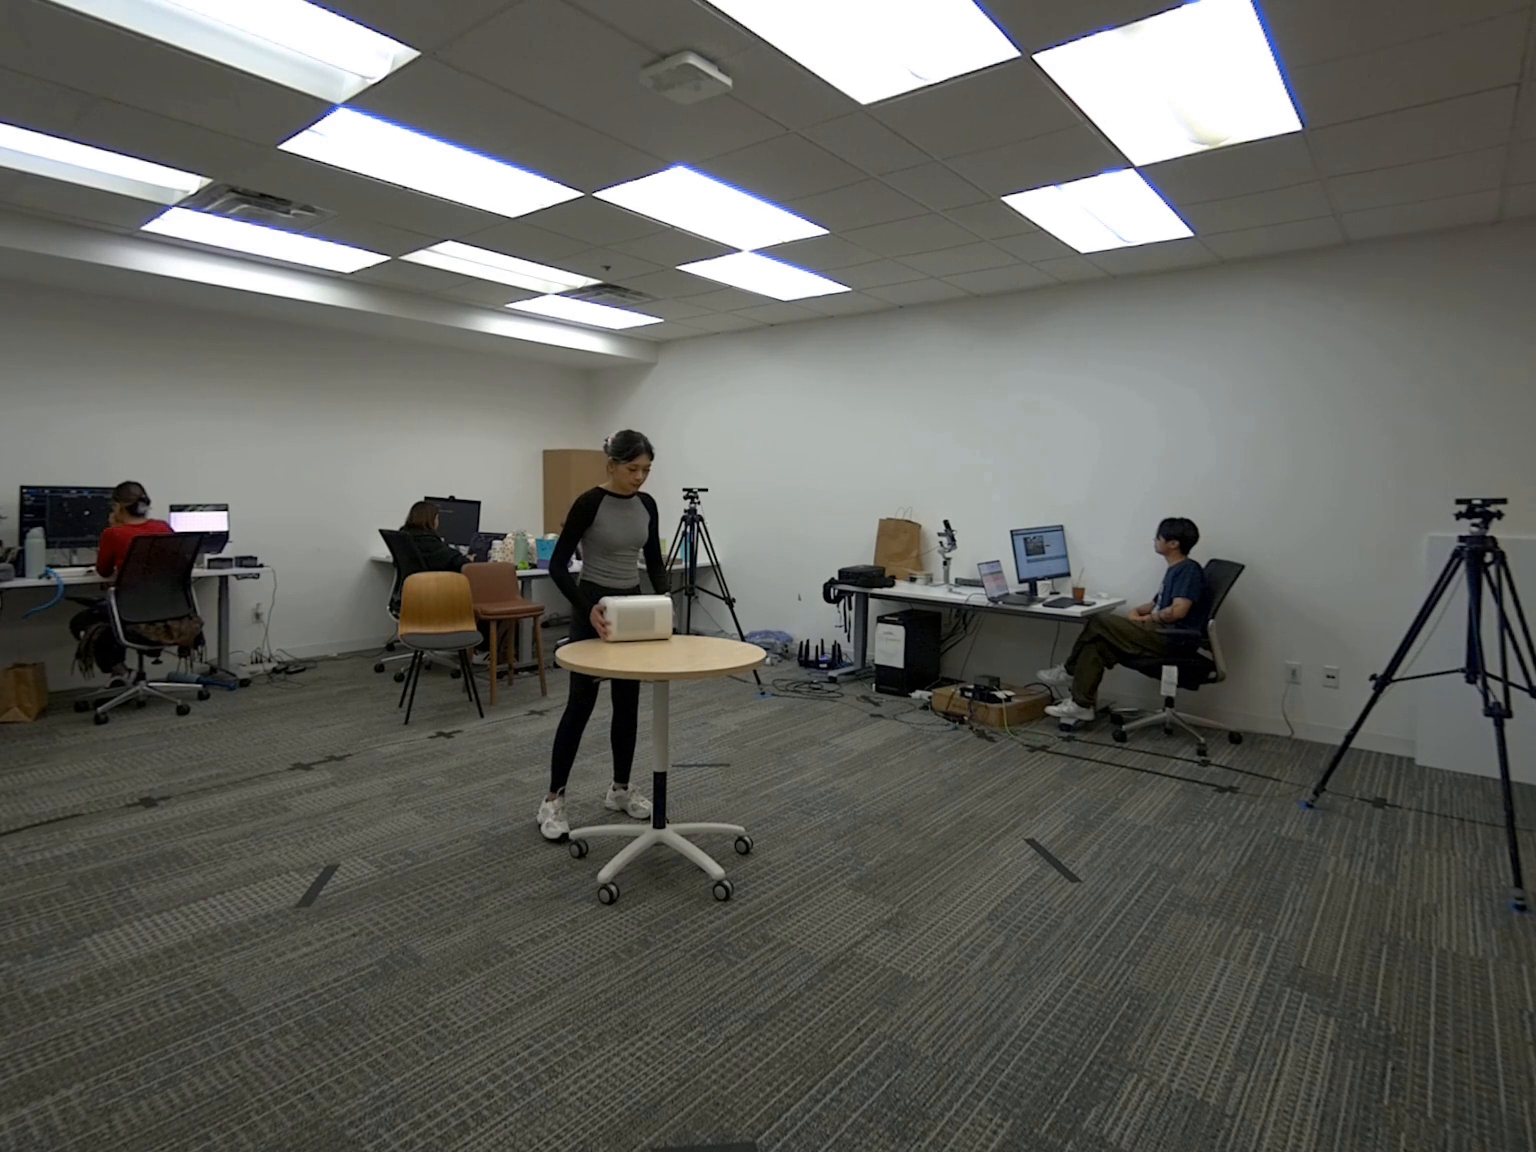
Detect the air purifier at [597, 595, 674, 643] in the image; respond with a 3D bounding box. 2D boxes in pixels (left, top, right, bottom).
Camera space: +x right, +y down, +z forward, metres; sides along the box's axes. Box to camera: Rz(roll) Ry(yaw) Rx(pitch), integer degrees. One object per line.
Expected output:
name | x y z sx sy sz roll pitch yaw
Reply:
air purifier | -0.537 0.163 3.366 0.259 0.171 0.176 -1 4 -25
